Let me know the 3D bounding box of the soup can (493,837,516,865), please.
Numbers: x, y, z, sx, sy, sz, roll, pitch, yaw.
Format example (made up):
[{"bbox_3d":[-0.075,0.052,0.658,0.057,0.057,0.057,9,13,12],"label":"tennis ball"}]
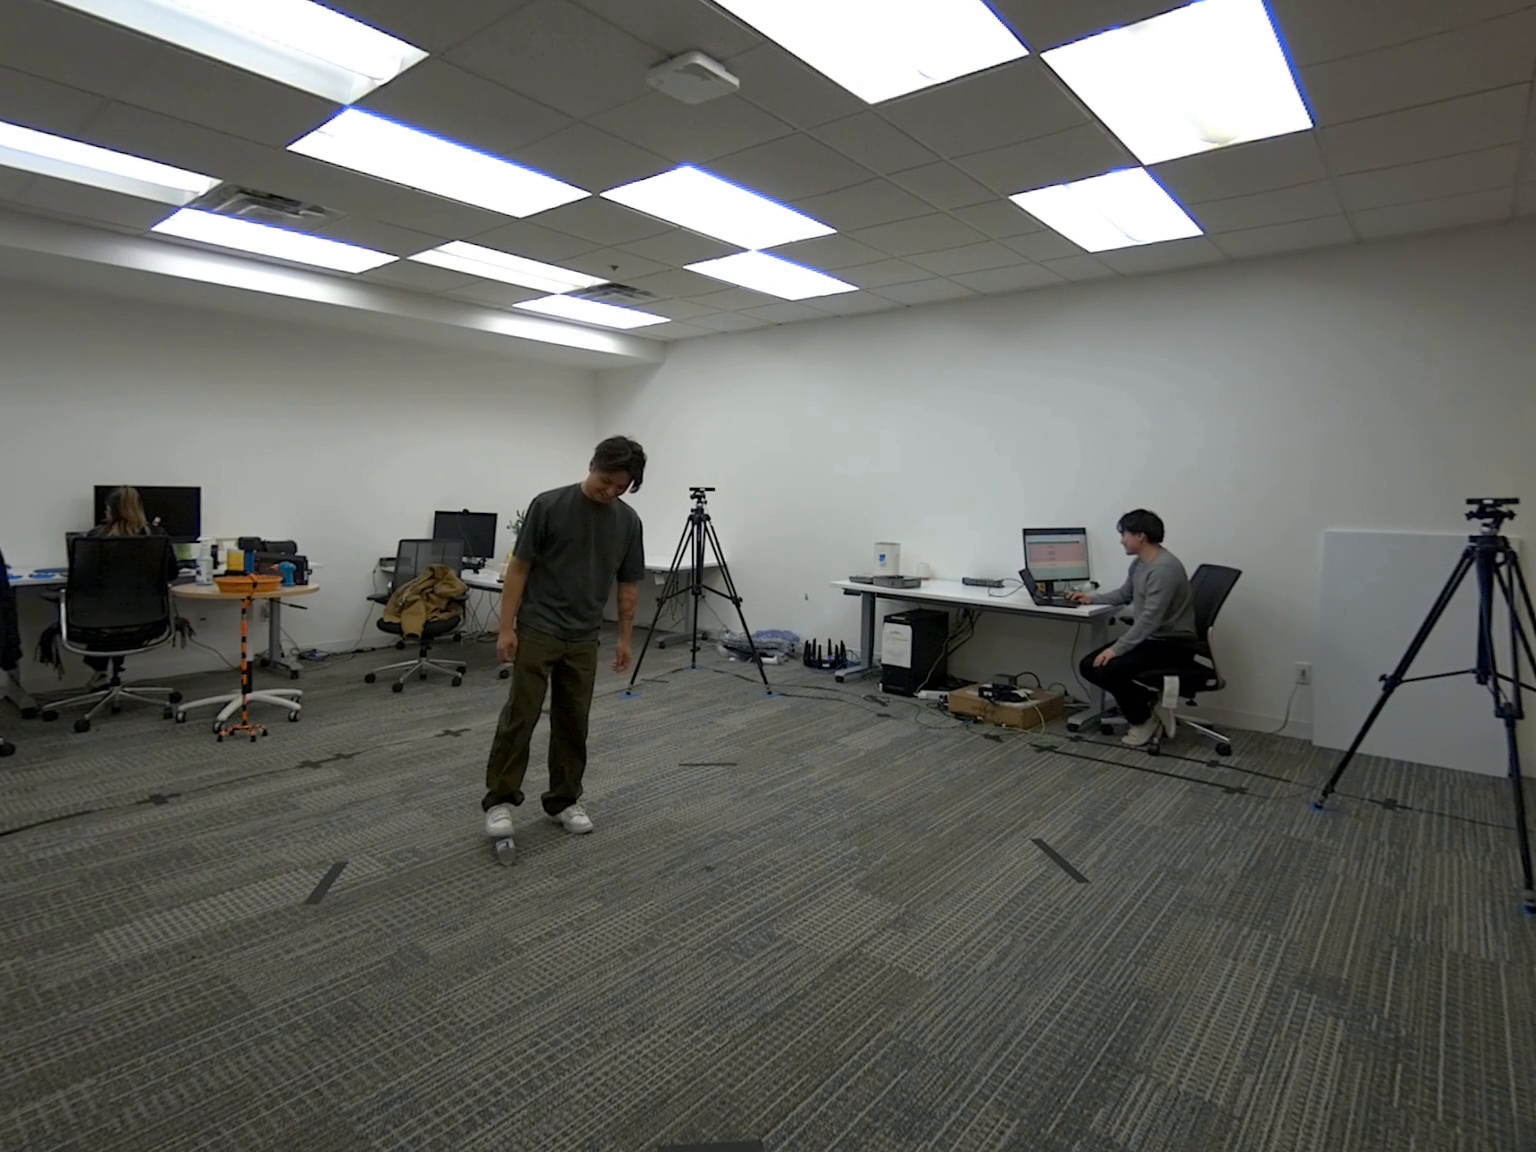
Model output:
[{"bbox_3d":[-0.990,1.014,3.159,0.066,0.067,0.123,0,2,-15],"label":"soup can"}]
